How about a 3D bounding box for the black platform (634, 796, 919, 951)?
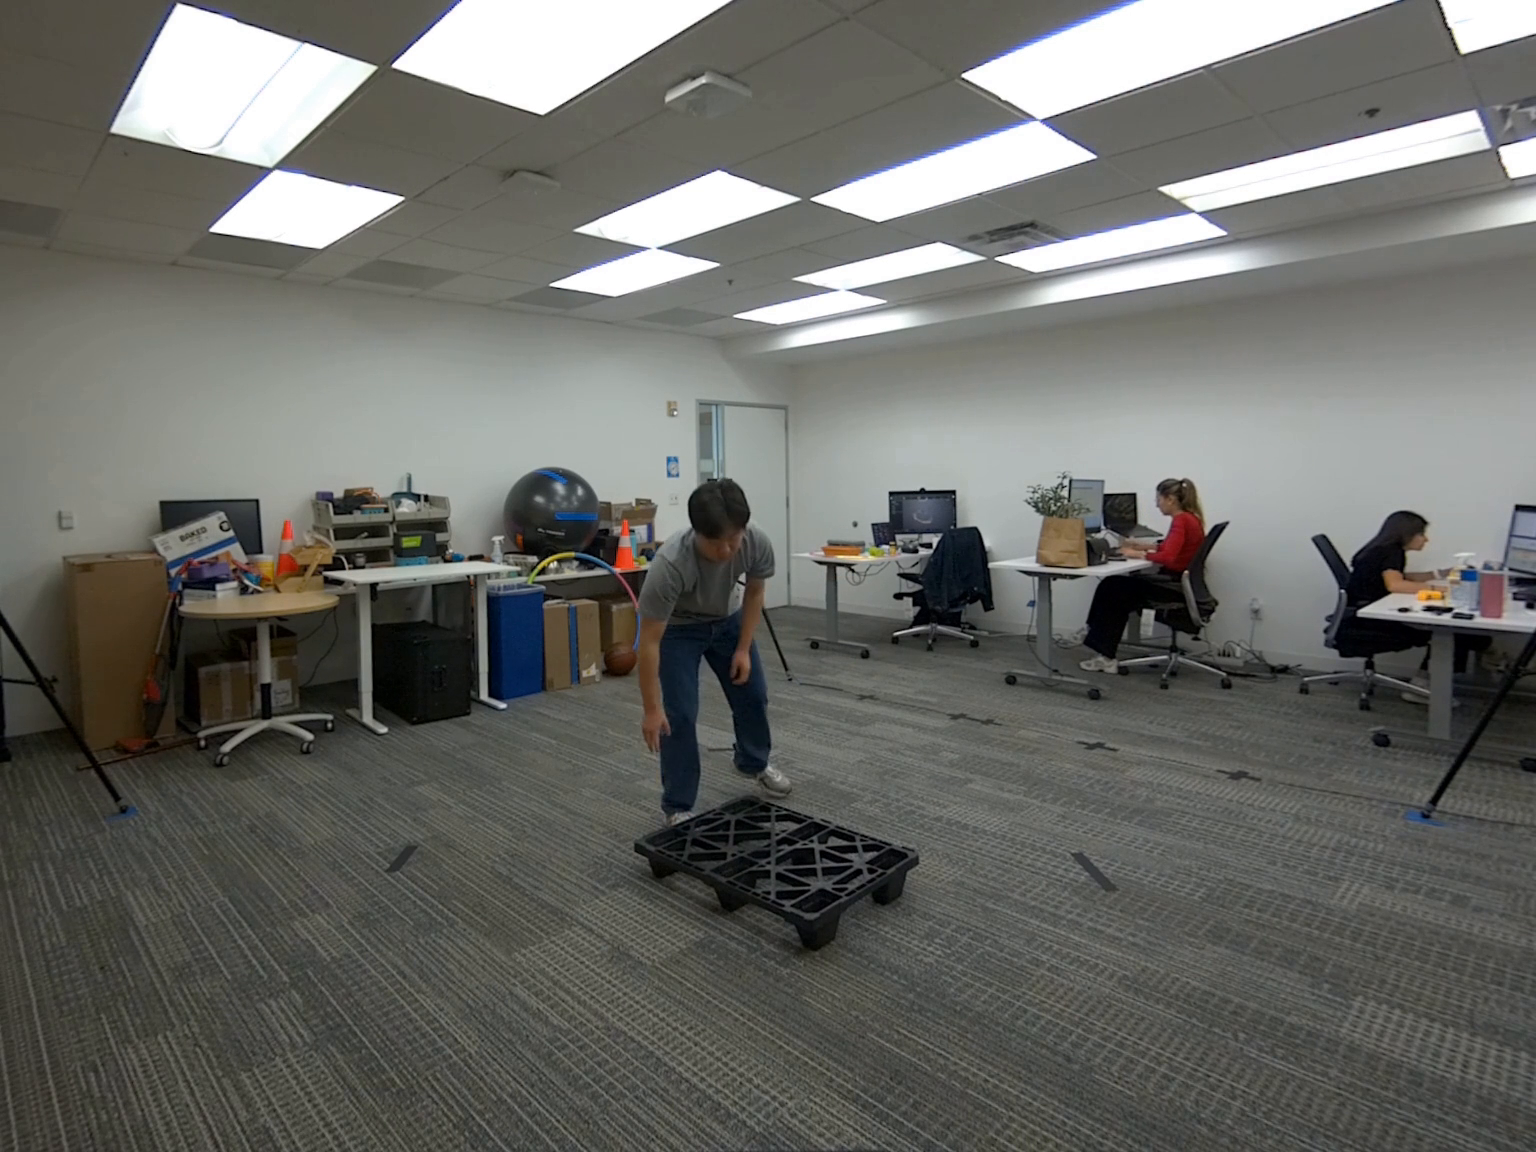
[{"bbox_3d":[0.023,0.998,2.928,0.830,0.142,0.590,5,9,43],"label":"black platform"}]
